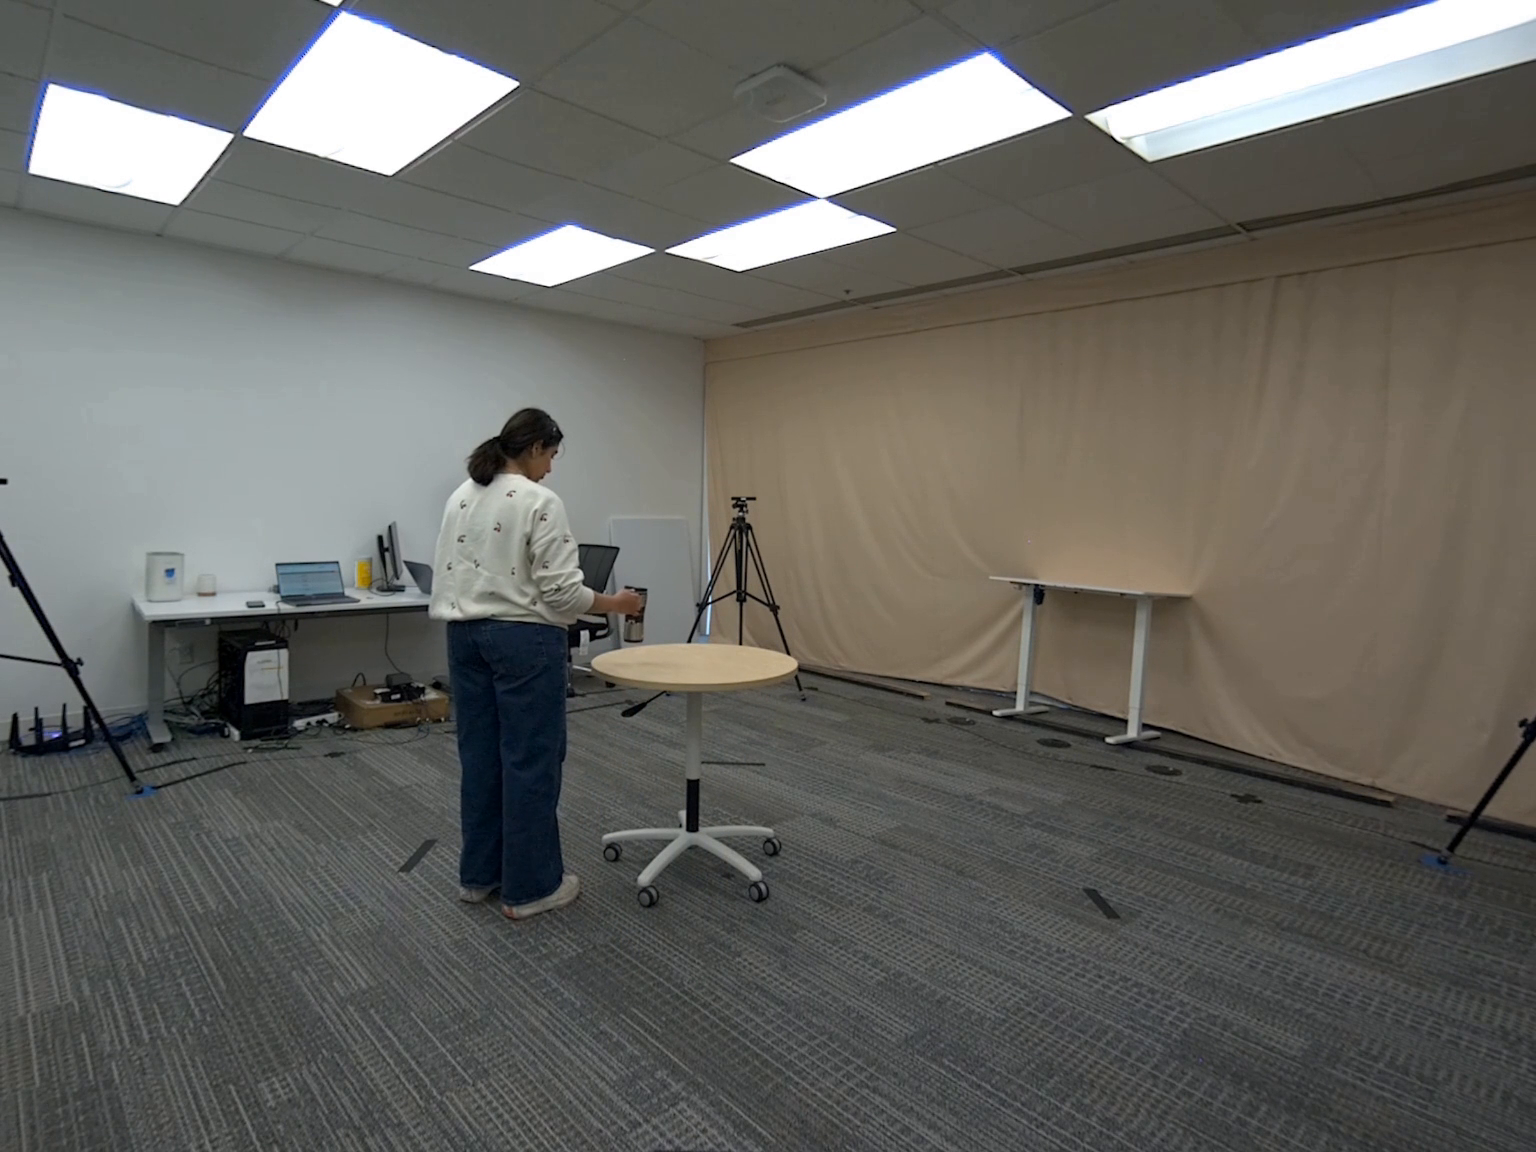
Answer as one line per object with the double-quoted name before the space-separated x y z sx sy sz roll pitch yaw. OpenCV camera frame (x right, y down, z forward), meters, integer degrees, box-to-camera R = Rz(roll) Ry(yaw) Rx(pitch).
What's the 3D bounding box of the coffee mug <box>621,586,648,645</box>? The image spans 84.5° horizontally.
"coffee mug" -0.513 0.145 3.050 0.119 0.203 0.090 7 1 -43
